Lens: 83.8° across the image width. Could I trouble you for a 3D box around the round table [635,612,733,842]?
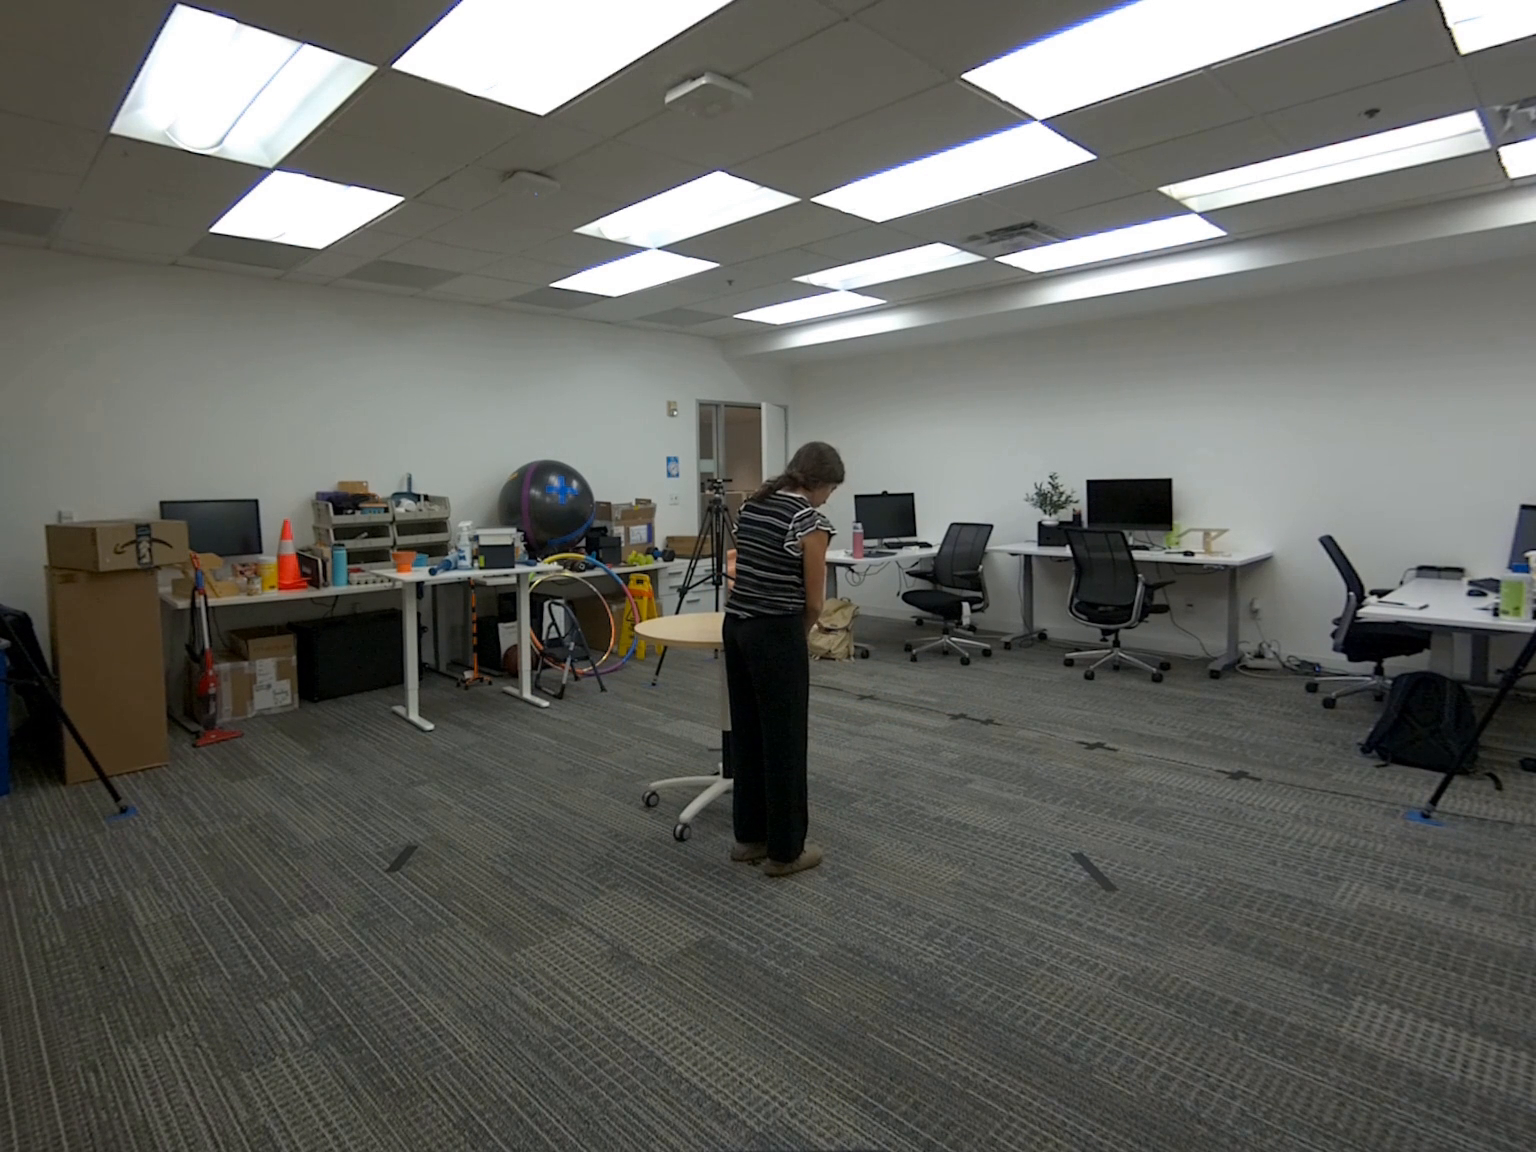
[{"bbox_3d":[-0.168,0.598,3.579,0.784,0.784,0.789,-1,5,-2],"label":"round table"}]
